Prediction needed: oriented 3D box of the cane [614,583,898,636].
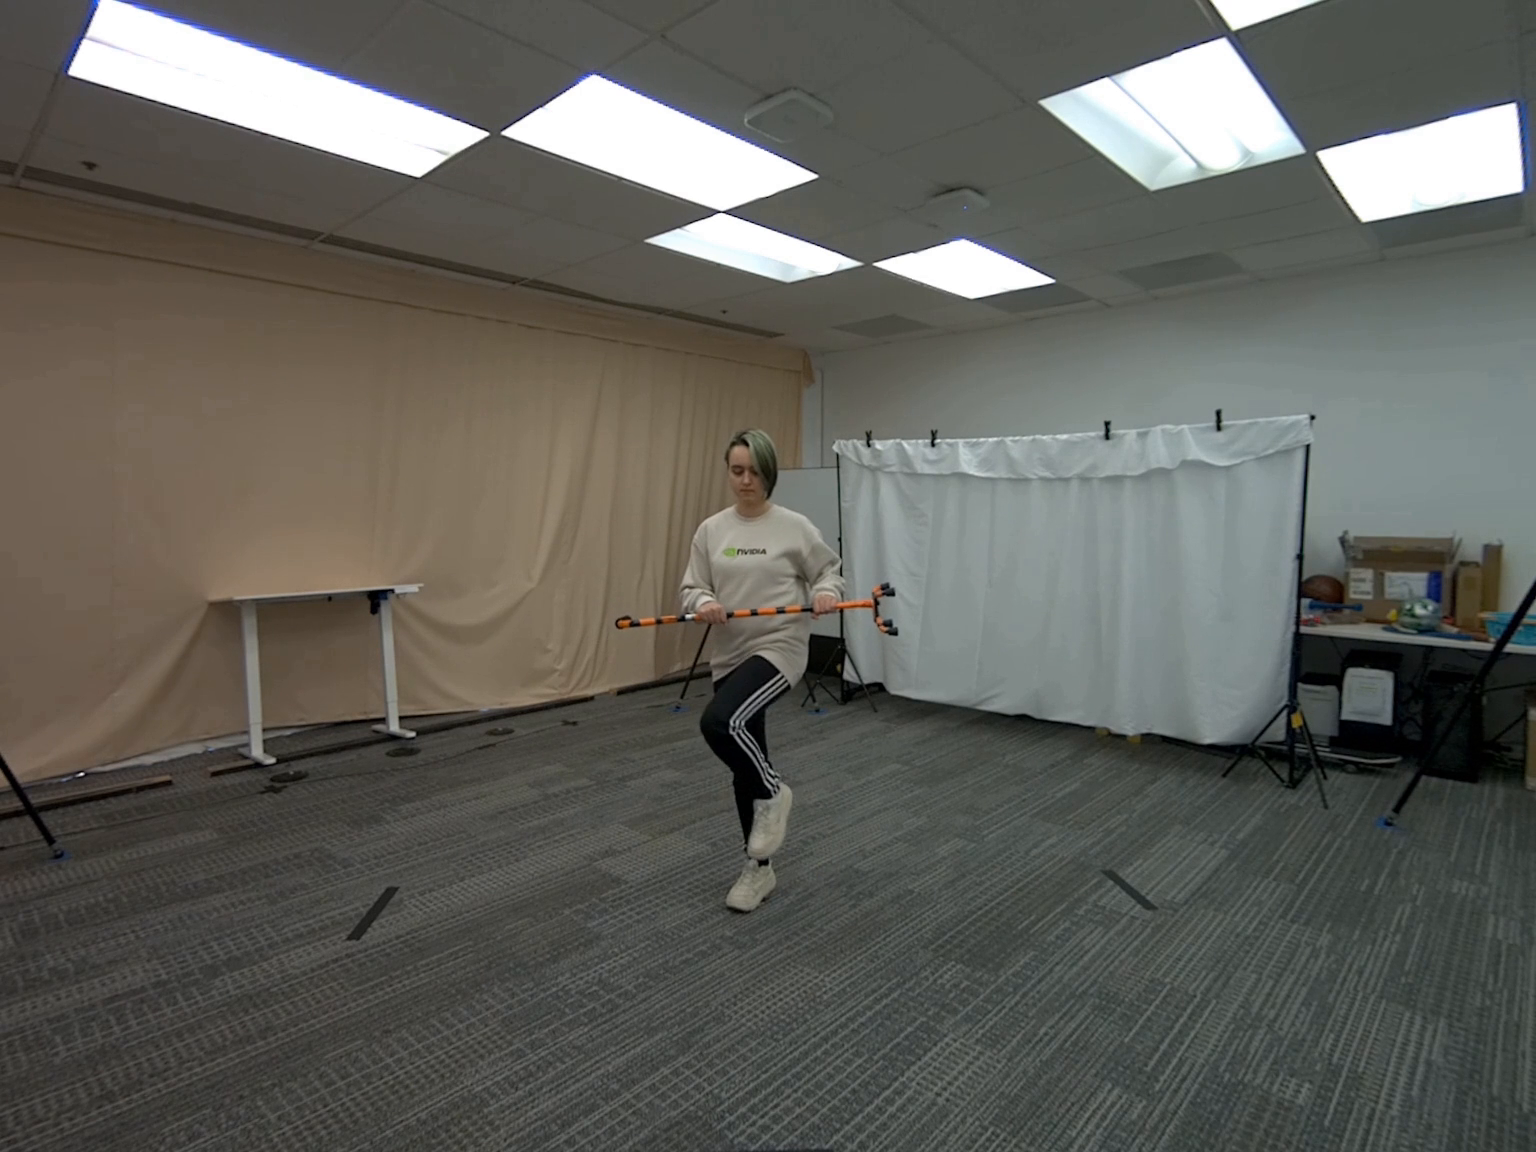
[{"bbox_3d":[-0.048,0.137,2.705,0.911,0.151,0.206,-3,4,3],"label":"cane"}]
